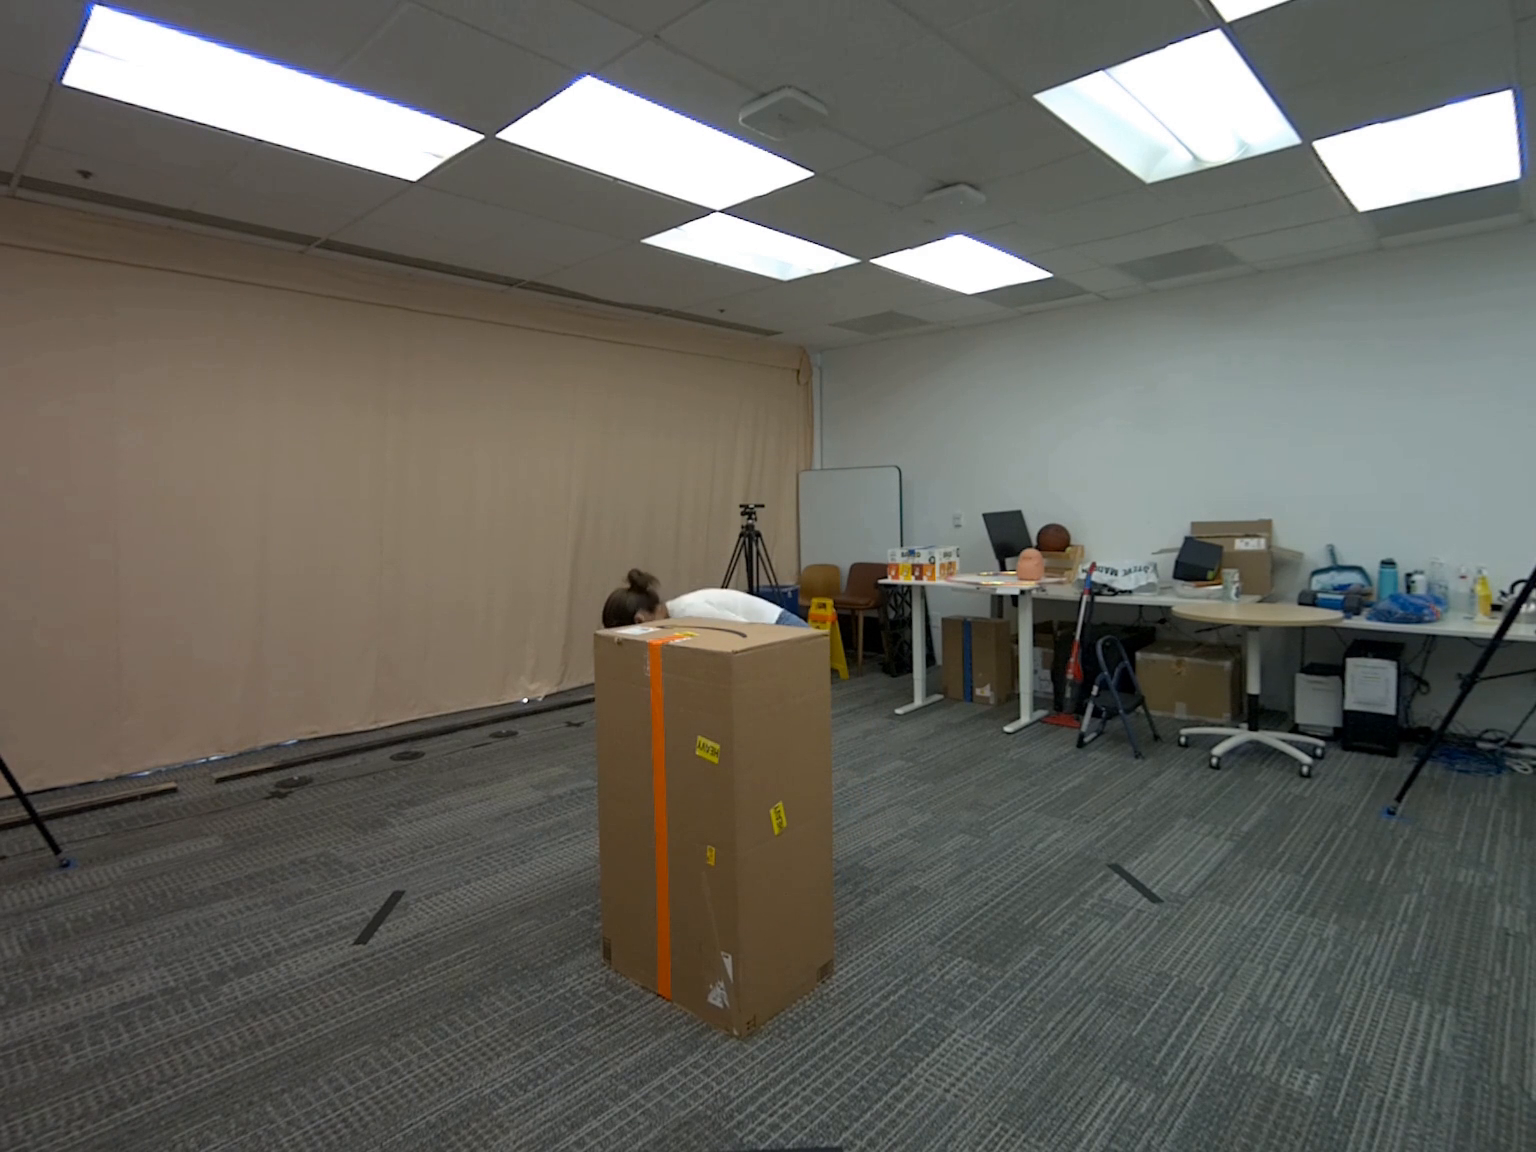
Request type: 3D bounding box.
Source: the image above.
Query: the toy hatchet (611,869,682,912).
[{"bbox_3d":[-0.439,1.132,3.066,0.134,0.029,0.264,-2,2,24],"label":"toy hatchet"}]
